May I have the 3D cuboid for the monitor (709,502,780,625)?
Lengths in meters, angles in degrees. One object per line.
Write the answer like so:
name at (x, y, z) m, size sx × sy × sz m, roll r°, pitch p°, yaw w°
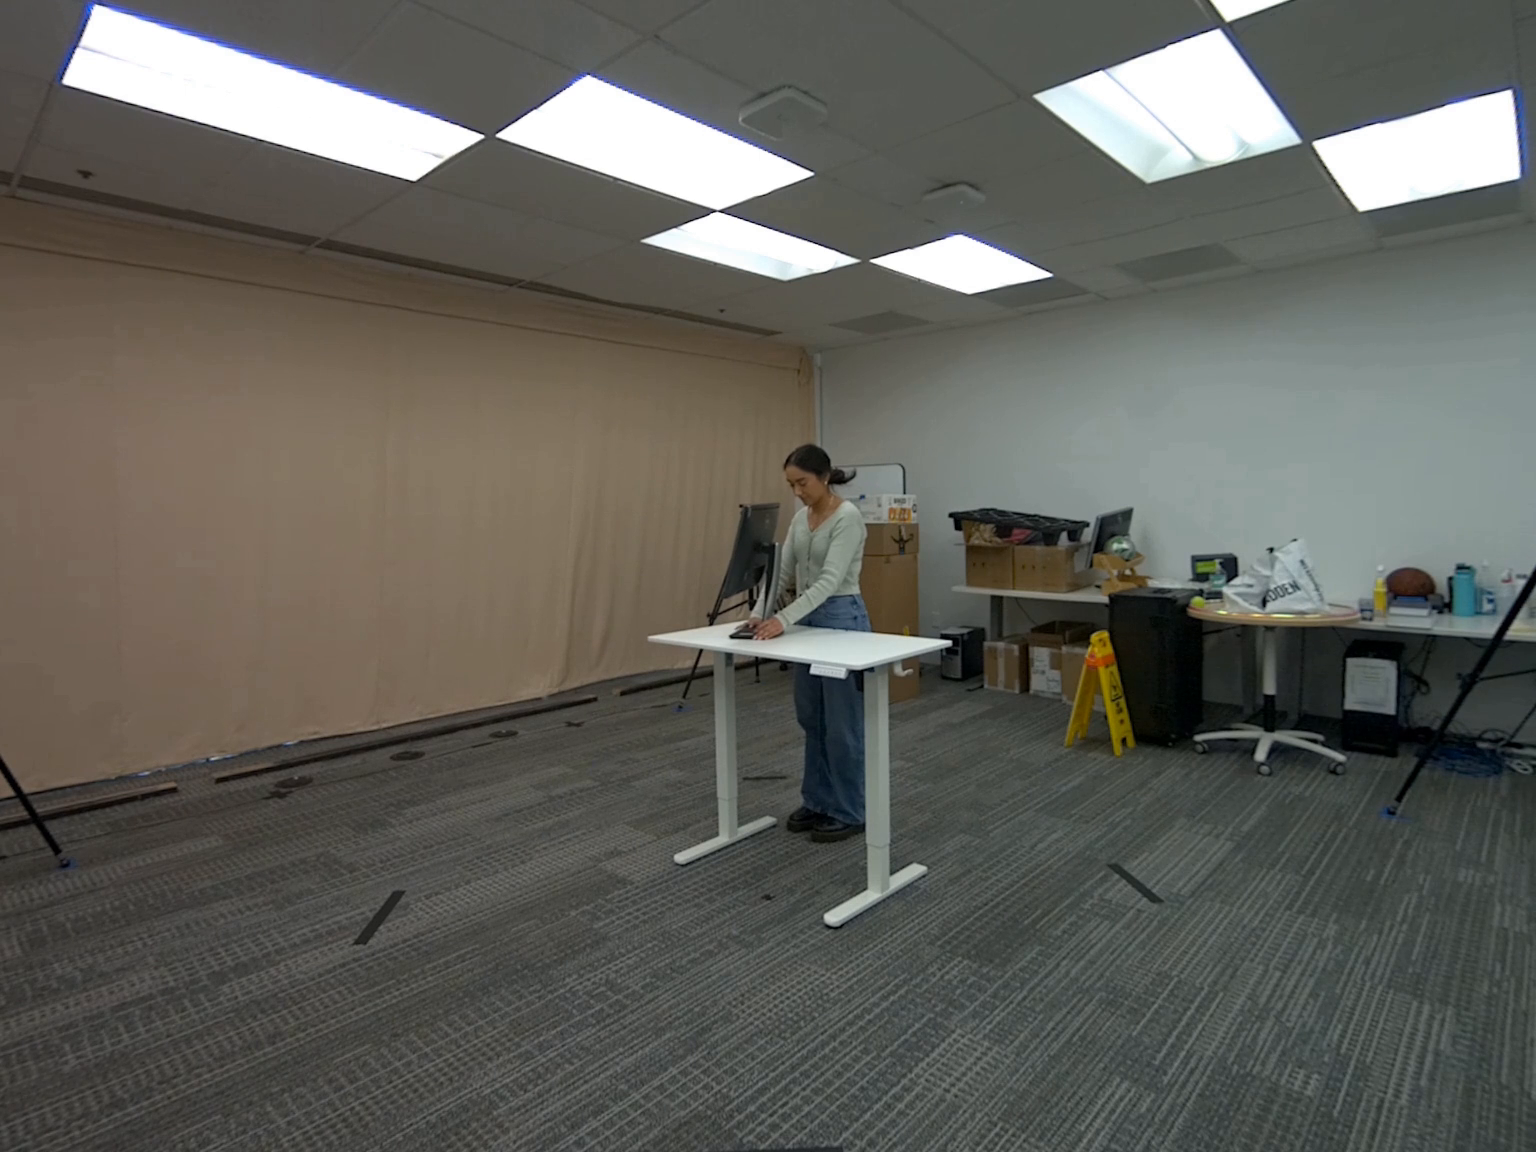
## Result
monitor at (-0.030, -0.025, 3.319) m, size 0.177 × 0.514 × 0.524 m, roll -2°, pitch 5°, yaw 13°
